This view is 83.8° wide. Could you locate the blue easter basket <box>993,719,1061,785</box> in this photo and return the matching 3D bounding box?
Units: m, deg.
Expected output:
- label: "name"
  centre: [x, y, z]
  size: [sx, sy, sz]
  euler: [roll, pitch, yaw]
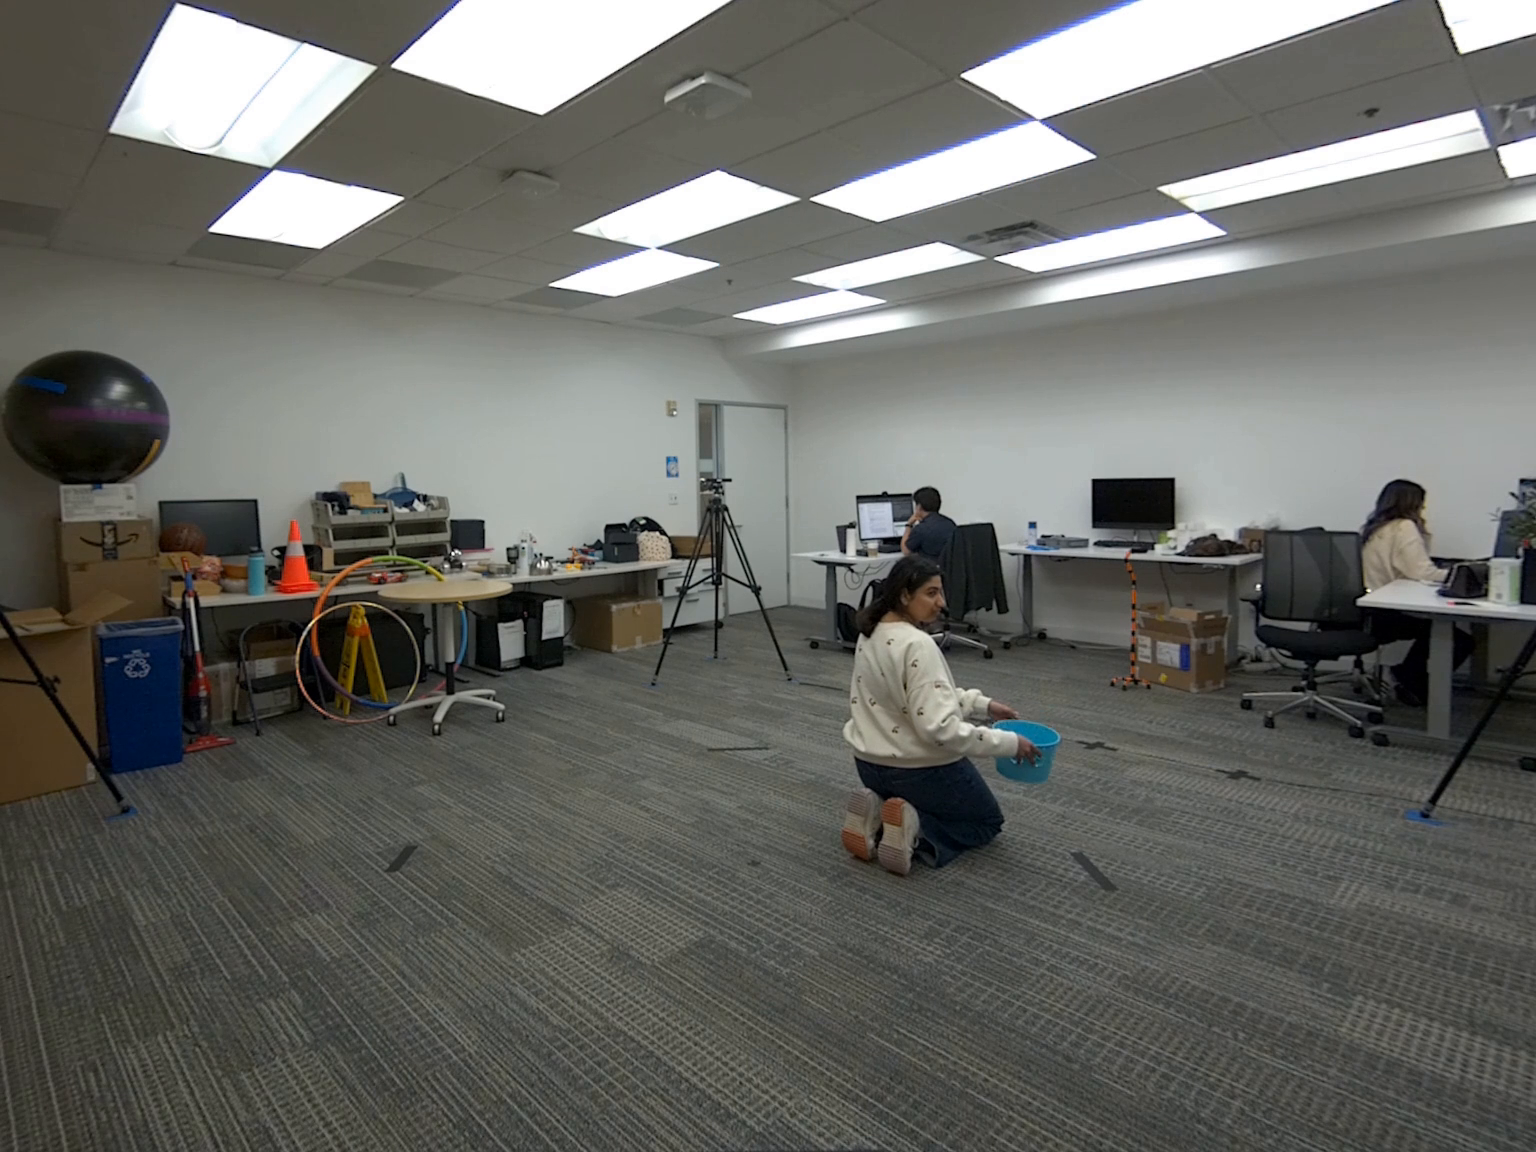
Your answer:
- label: "blue easter basket"
  centre: [0.920, 0.625, 3.048]
  size: [0.243, 0.154, 0.246]
  euler: [1, 10, -2]
